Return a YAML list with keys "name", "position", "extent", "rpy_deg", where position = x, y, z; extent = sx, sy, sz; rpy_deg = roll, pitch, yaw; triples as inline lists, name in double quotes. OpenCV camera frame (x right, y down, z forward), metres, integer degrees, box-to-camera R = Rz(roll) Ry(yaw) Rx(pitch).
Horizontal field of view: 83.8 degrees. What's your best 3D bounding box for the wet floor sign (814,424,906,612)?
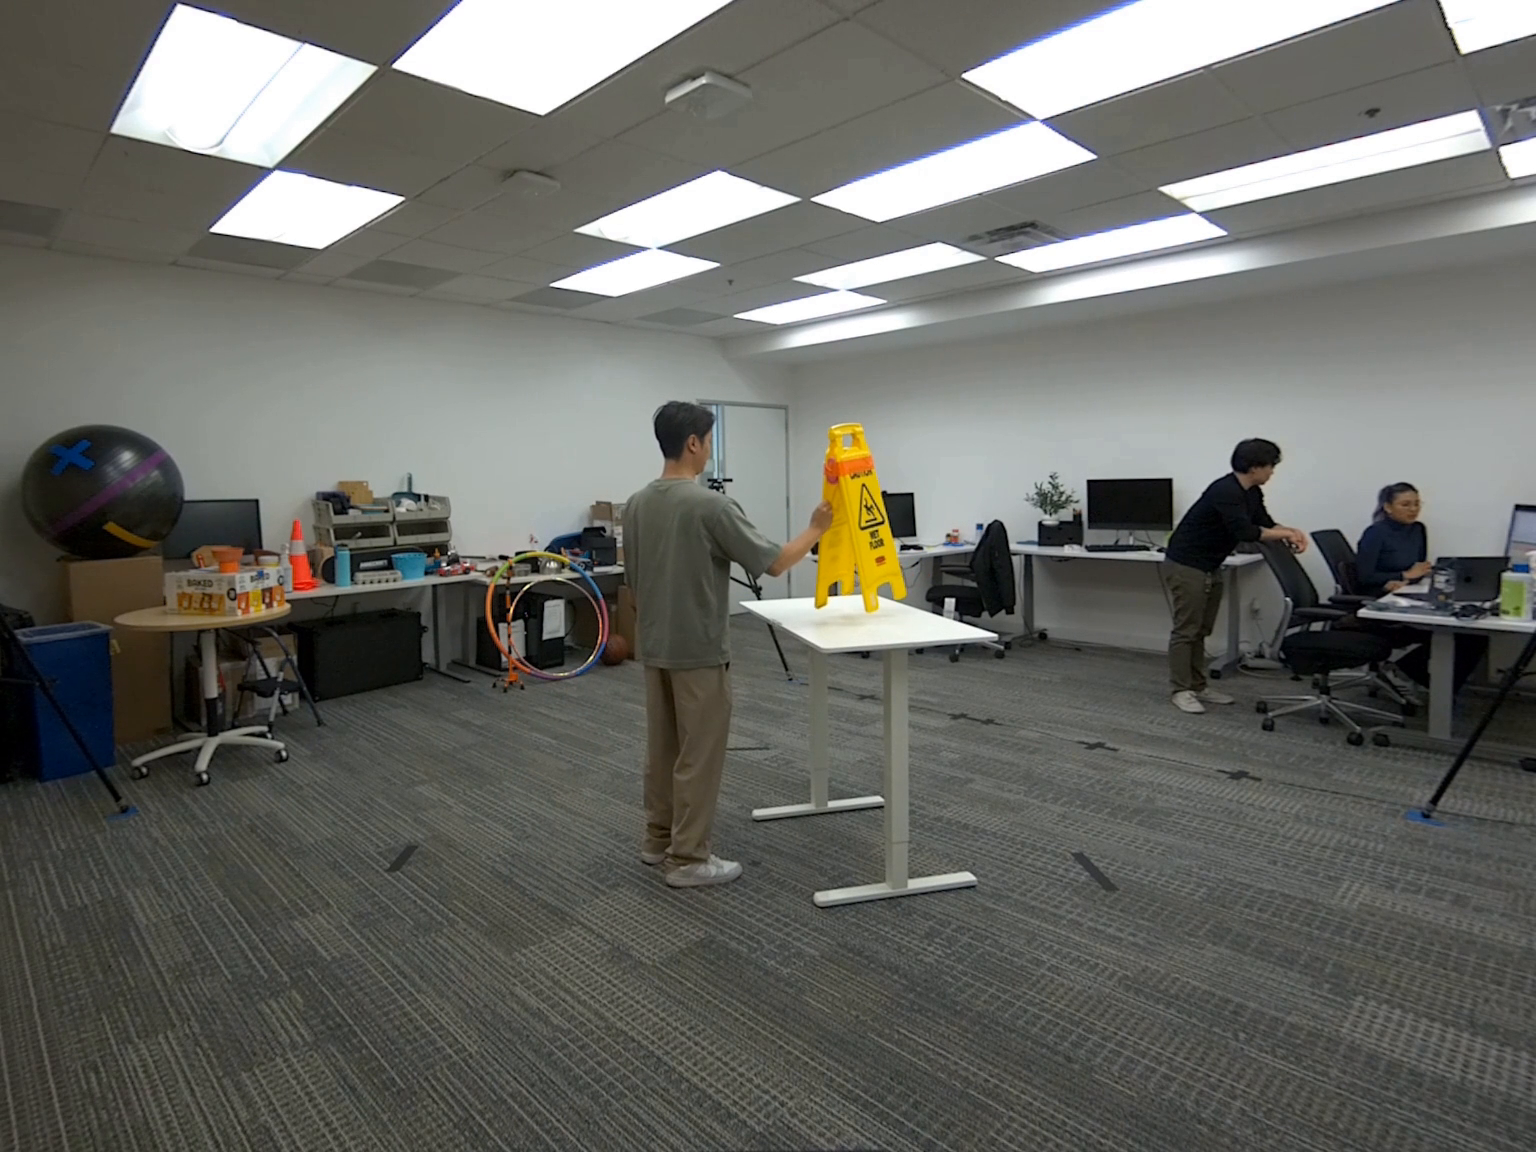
- name: "wet floor sign"
  position: [0.313, -0.222, 3.089]
  extent: [0.298, 0.641, 0.276]
  rpy_deg: [1, 11, 38]
